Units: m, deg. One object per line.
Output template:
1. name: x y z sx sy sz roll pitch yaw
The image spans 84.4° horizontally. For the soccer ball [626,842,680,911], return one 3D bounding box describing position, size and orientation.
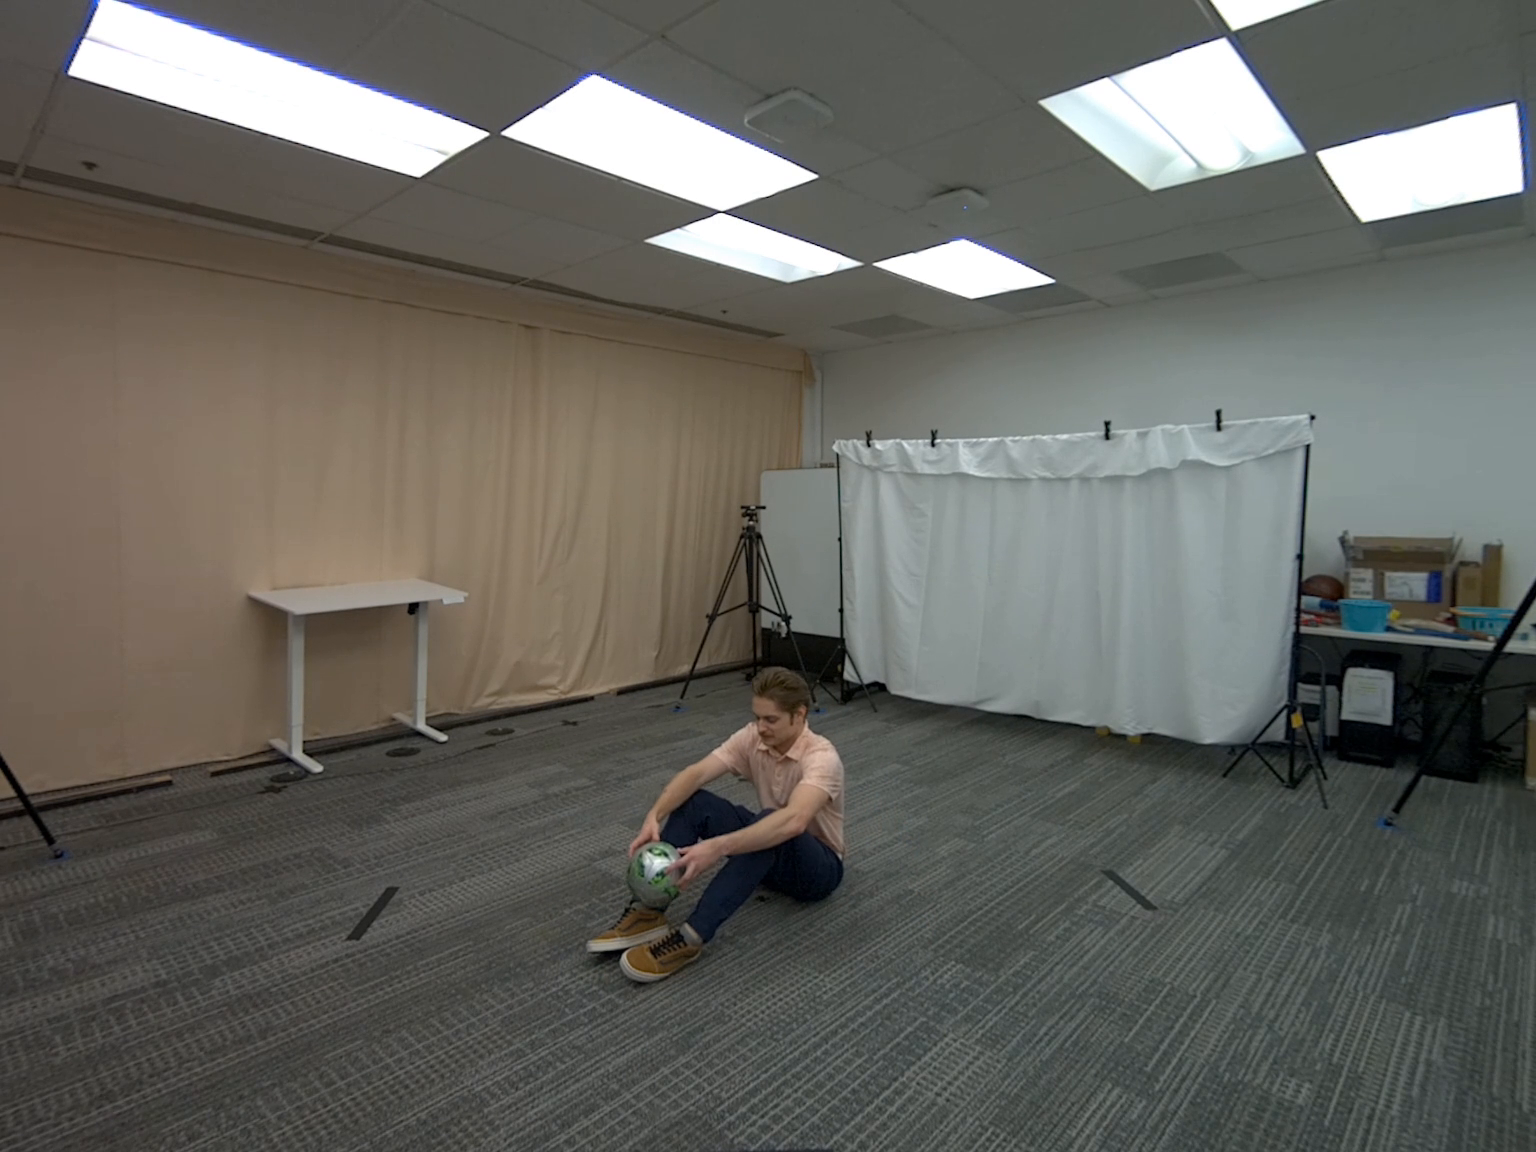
1. soccer ball: -0.338 0.909 2.603 0.187 0.187 0.188 0 4 -2
